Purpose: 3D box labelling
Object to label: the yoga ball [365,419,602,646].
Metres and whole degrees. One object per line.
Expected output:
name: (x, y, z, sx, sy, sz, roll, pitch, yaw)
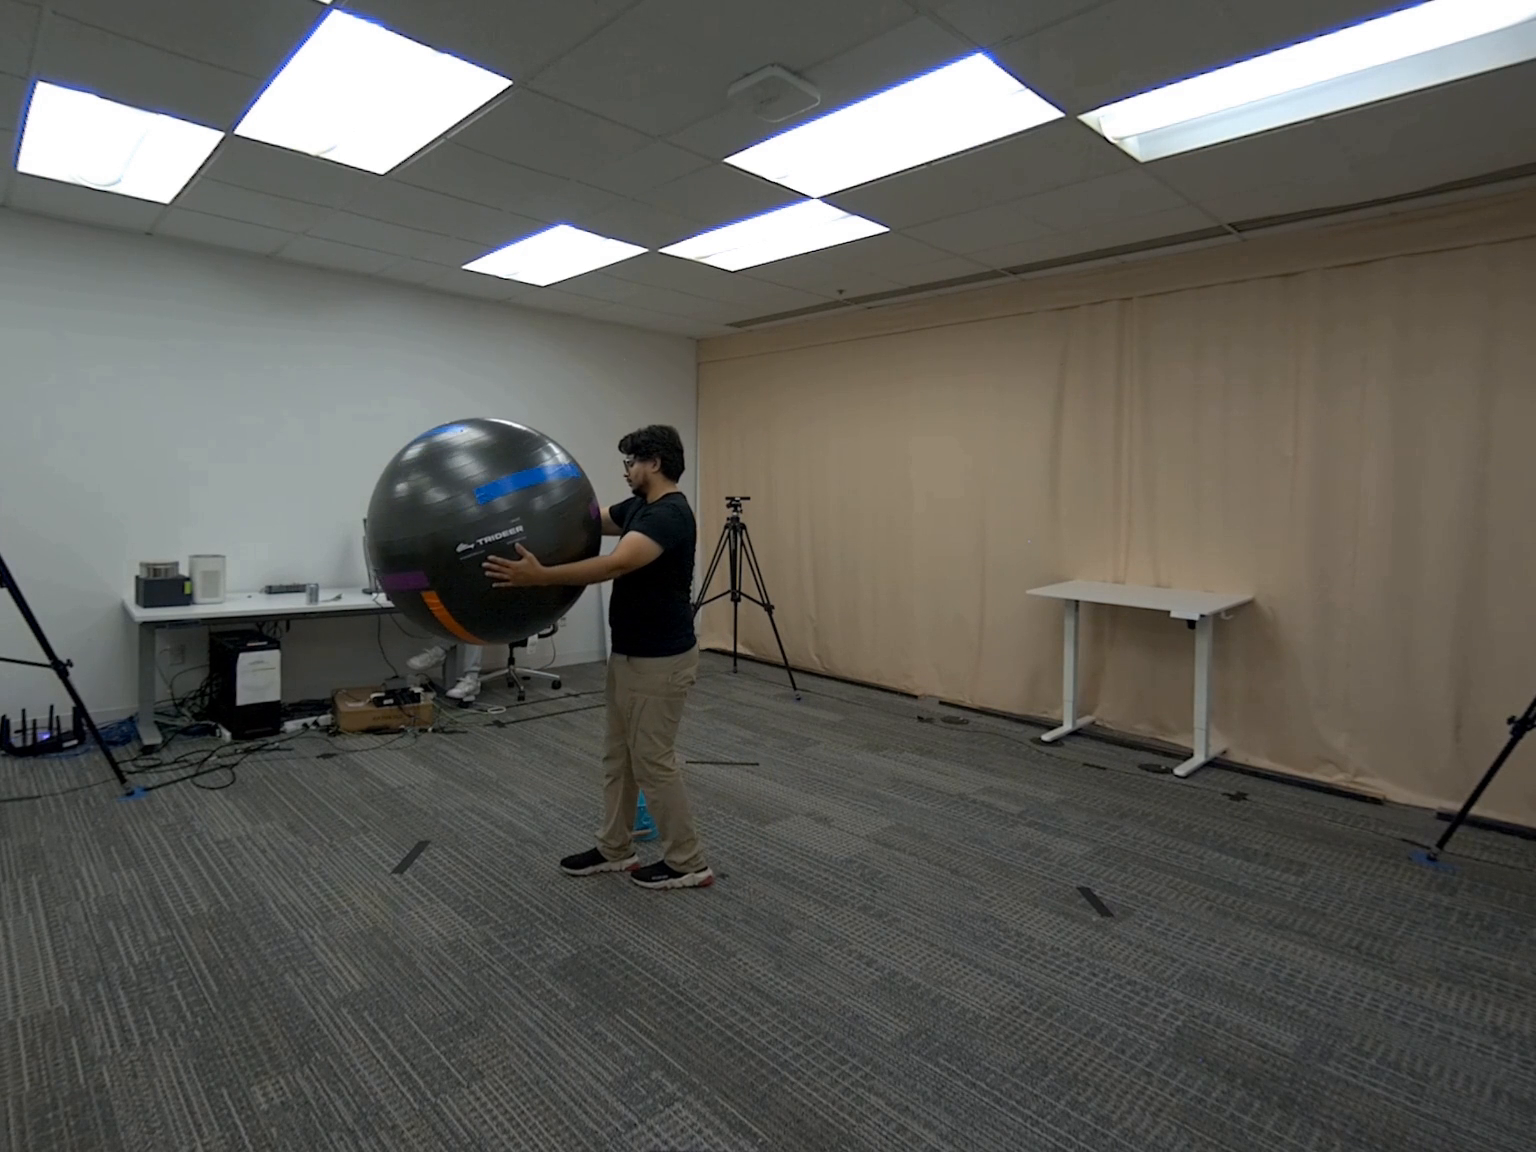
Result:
yoga ball: (-0.962, -0.141, 2.819, 0.757, 0.756, 0.761, 1, 4, -1)
